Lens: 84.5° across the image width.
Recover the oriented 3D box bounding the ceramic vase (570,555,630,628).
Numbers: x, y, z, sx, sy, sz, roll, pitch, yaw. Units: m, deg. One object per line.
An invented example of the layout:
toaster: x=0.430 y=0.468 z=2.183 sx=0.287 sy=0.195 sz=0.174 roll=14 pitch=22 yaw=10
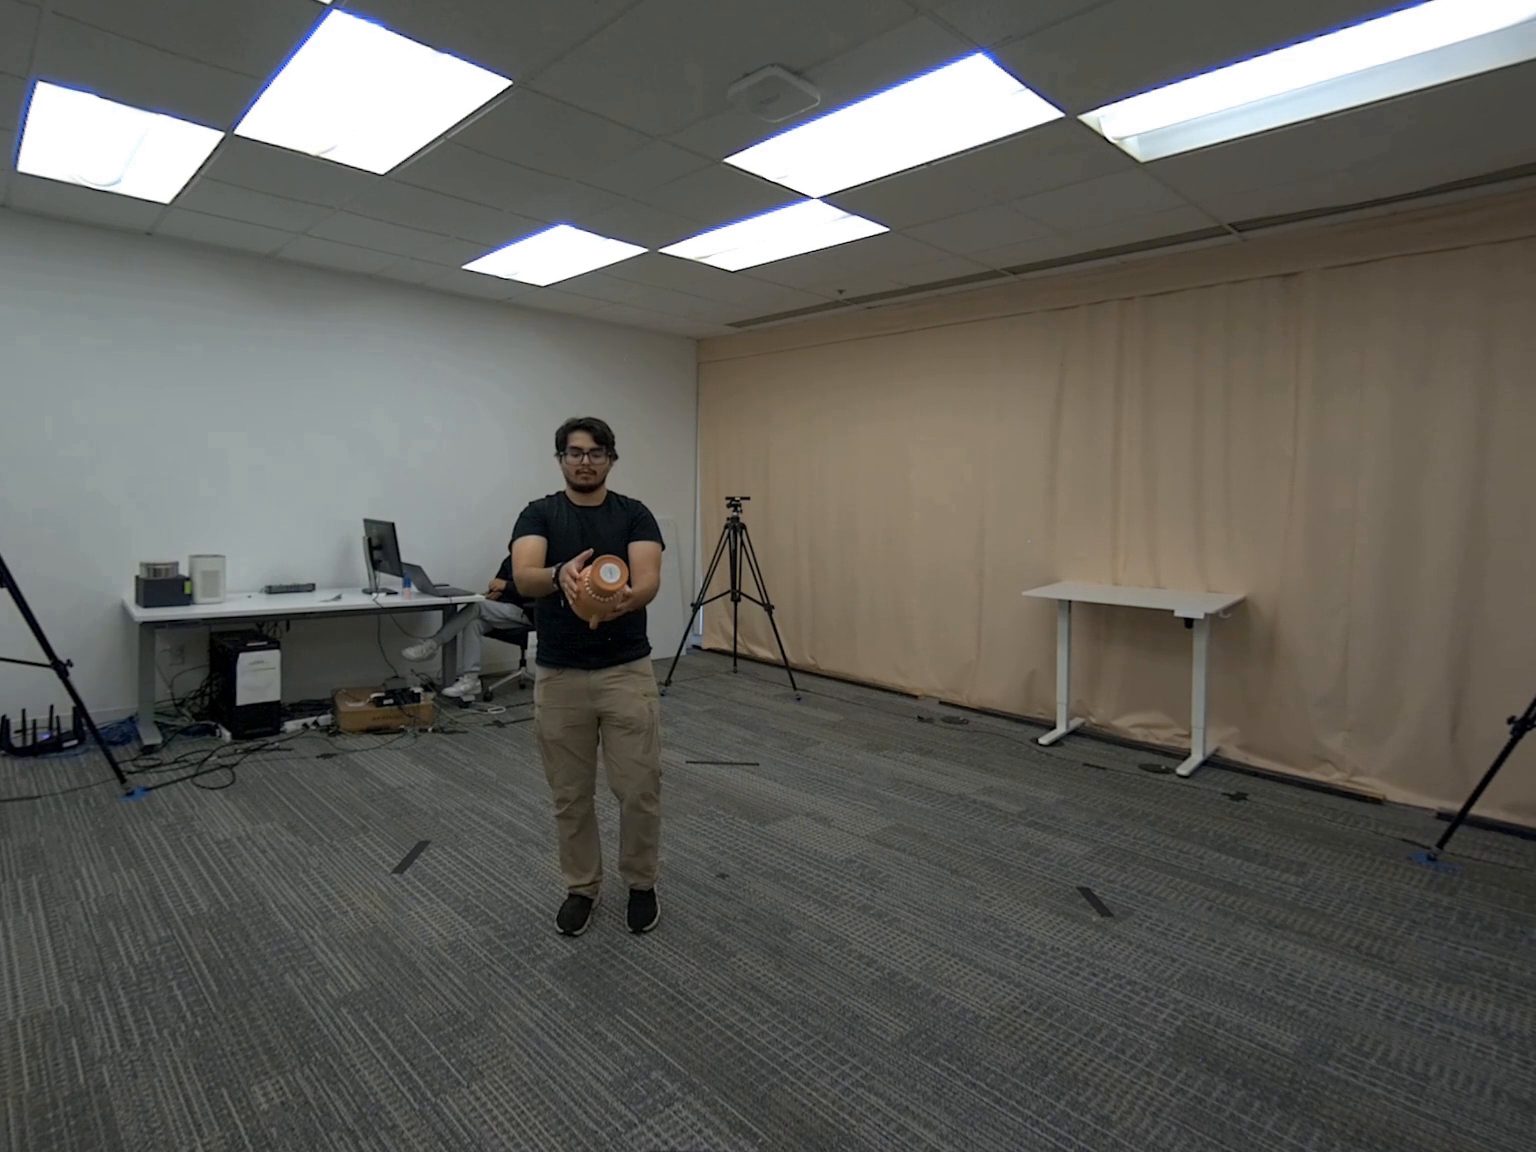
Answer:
ceramic vase: x=-0.464 y=0.030 z=2.196 sx=0.134 sy=0.160 sz=0.219 roll=-32 pitch=-7 yaw=-24
